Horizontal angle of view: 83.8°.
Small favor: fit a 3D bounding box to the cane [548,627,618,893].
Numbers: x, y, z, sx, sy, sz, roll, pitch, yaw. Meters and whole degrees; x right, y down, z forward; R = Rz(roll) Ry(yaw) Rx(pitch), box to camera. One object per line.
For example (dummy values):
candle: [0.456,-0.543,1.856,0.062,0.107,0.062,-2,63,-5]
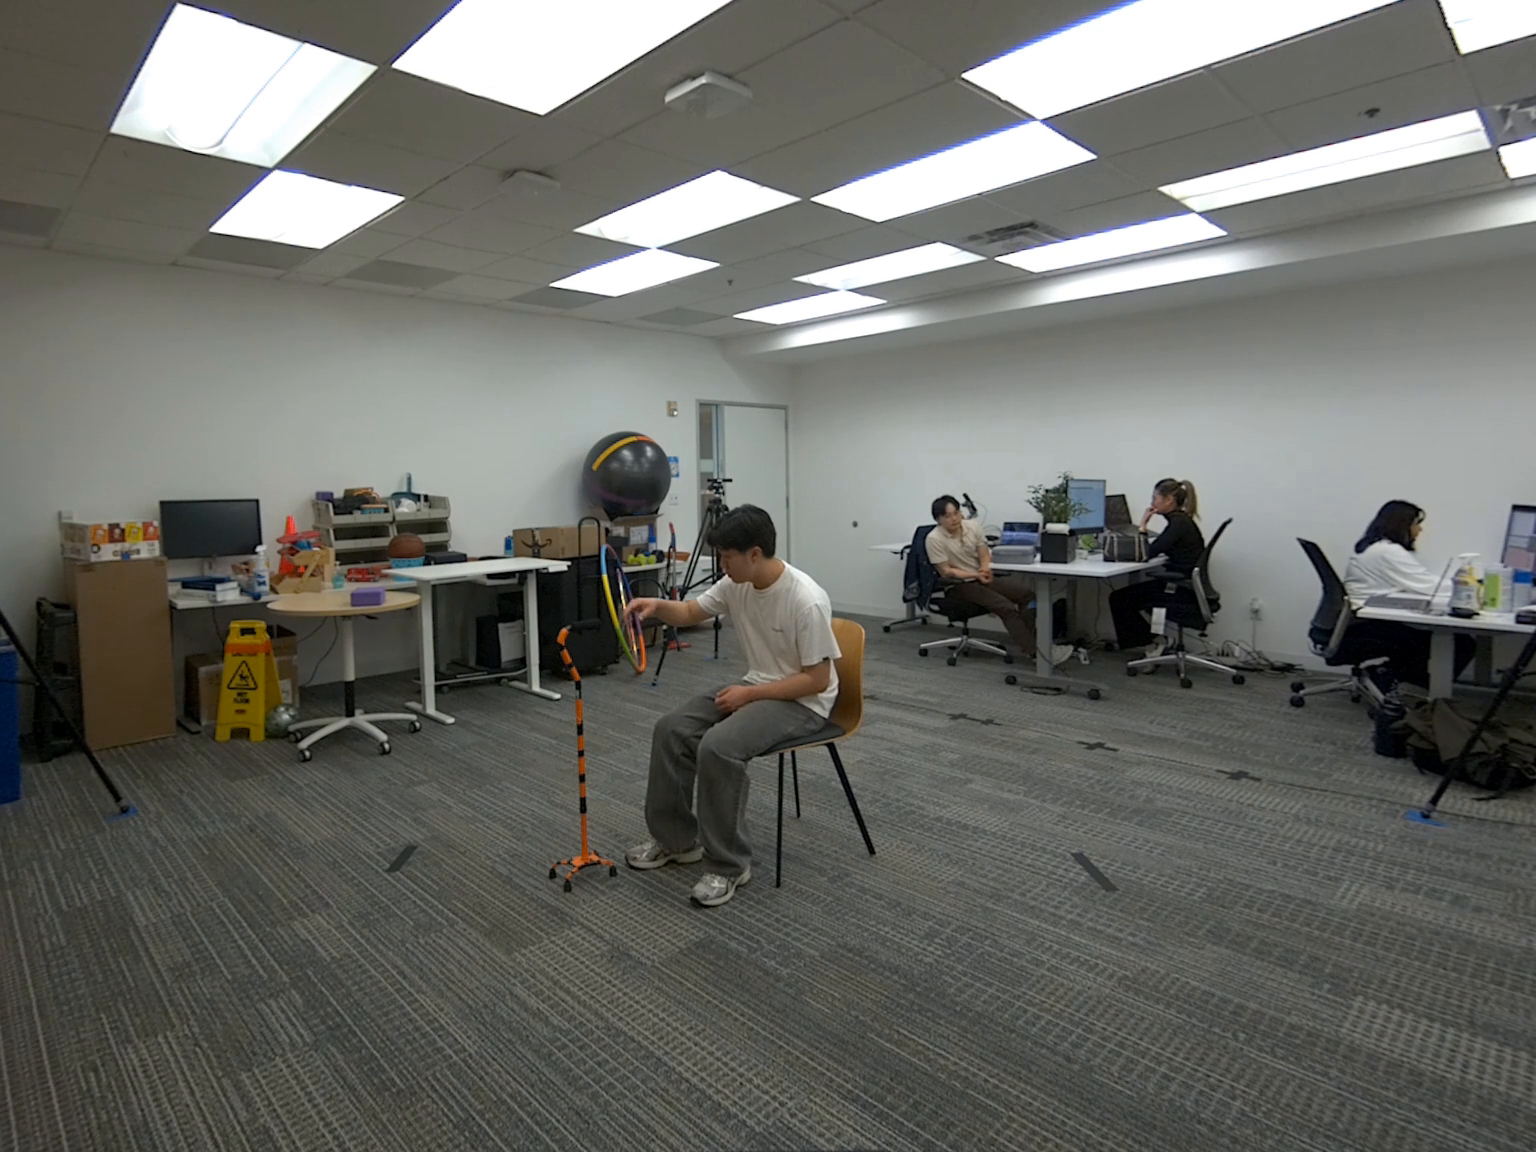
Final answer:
cane: [-0.668,0.613,3.006,0.201,0.904,0.156,-5,6,-38]
